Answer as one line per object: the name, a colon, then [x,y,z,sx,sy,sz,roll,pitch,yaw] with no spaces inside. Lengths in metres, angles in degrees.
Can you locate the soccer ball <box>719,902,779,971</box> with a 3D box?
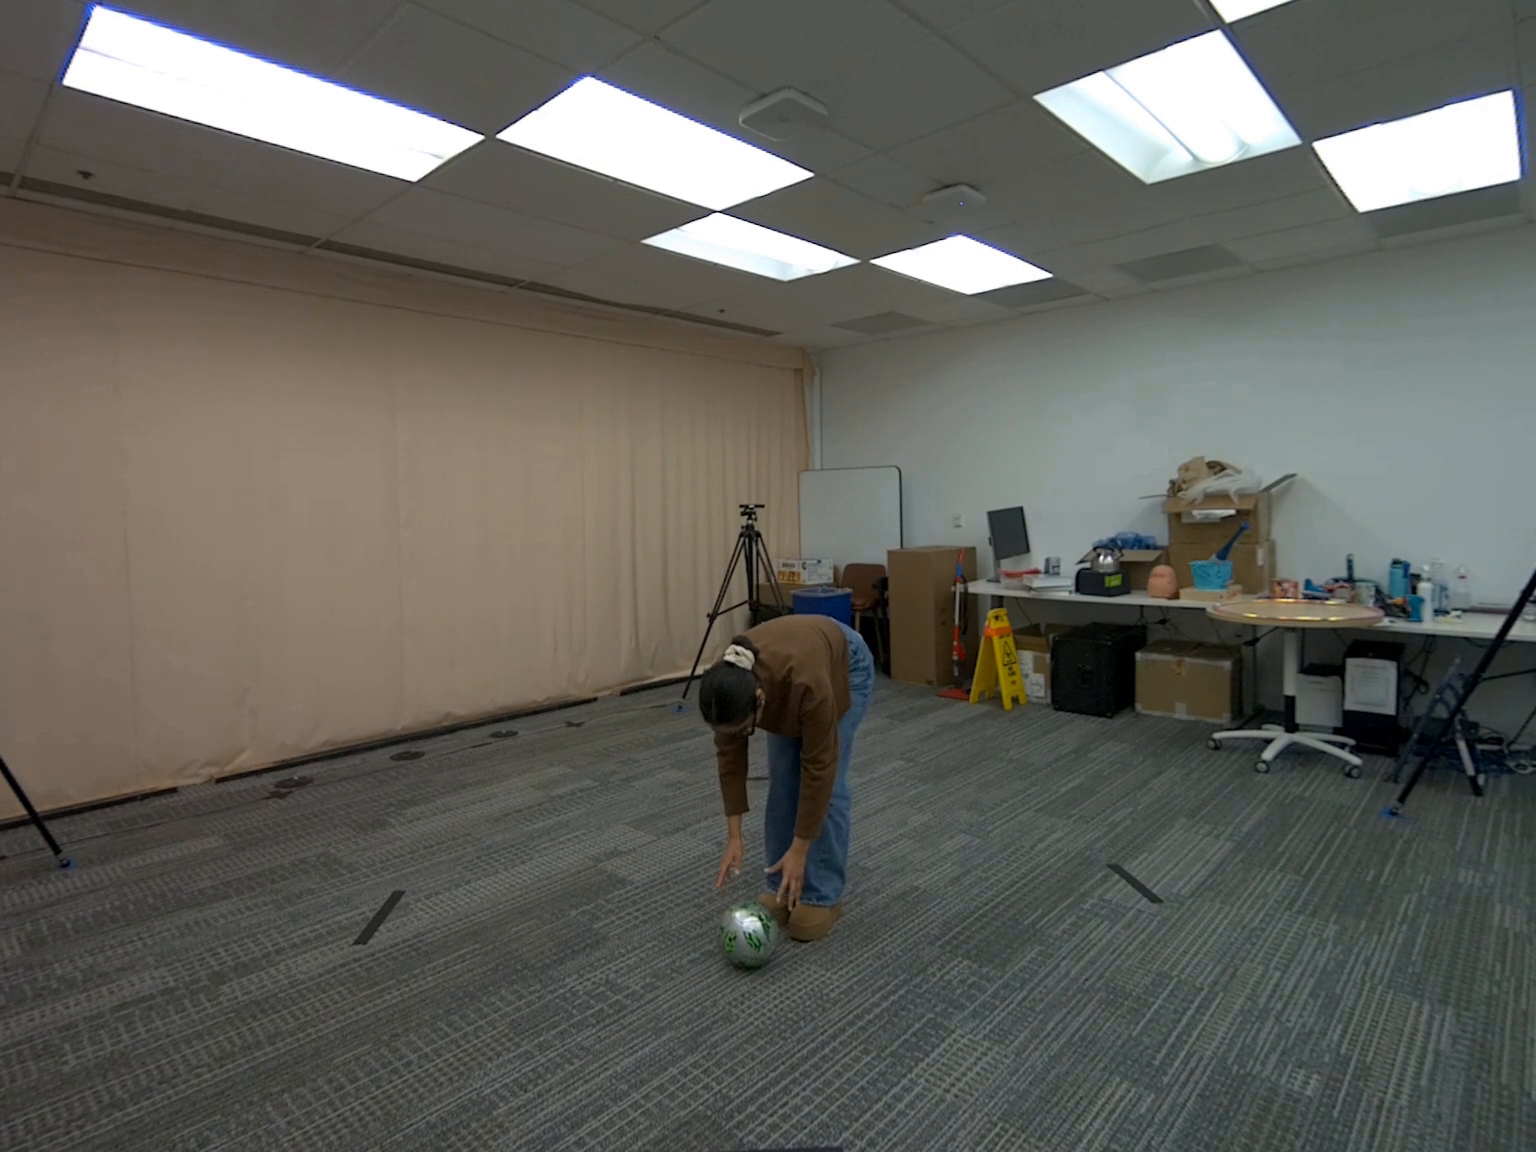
soccer ball: [-0.052,1.090,2.550,0.187,0.187,0.188,-1,4,-2]
